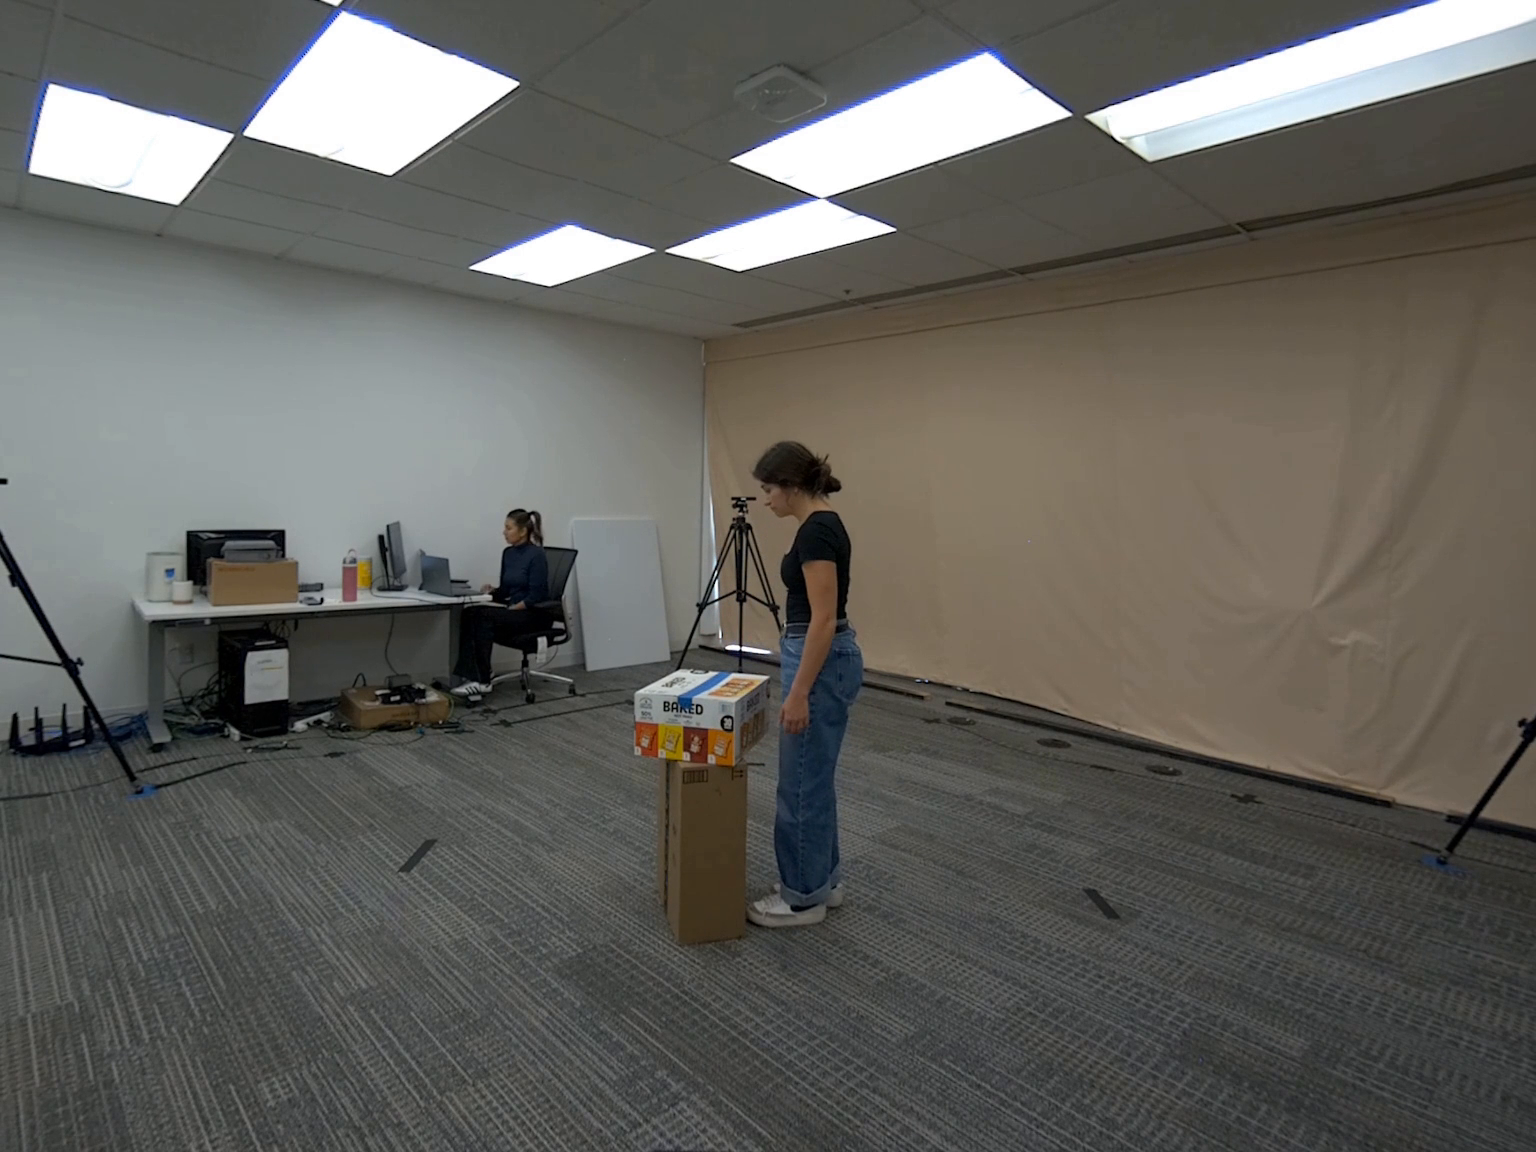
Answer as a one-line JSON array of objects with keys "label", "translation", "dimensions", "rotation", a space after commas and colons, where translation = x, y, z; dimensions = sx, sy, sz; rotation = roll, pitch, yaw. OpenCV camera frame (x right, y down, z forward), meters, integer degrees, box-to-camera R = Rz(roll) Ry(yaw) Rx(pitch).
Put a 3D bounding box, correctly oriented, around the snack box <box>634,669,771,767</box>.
[{"label": "snack box", "translation": [-0.212, 0.462, 2.822], "dimensions": [0.345, 0.205, 0.400], "rotation": [2, 5, 17]}]
